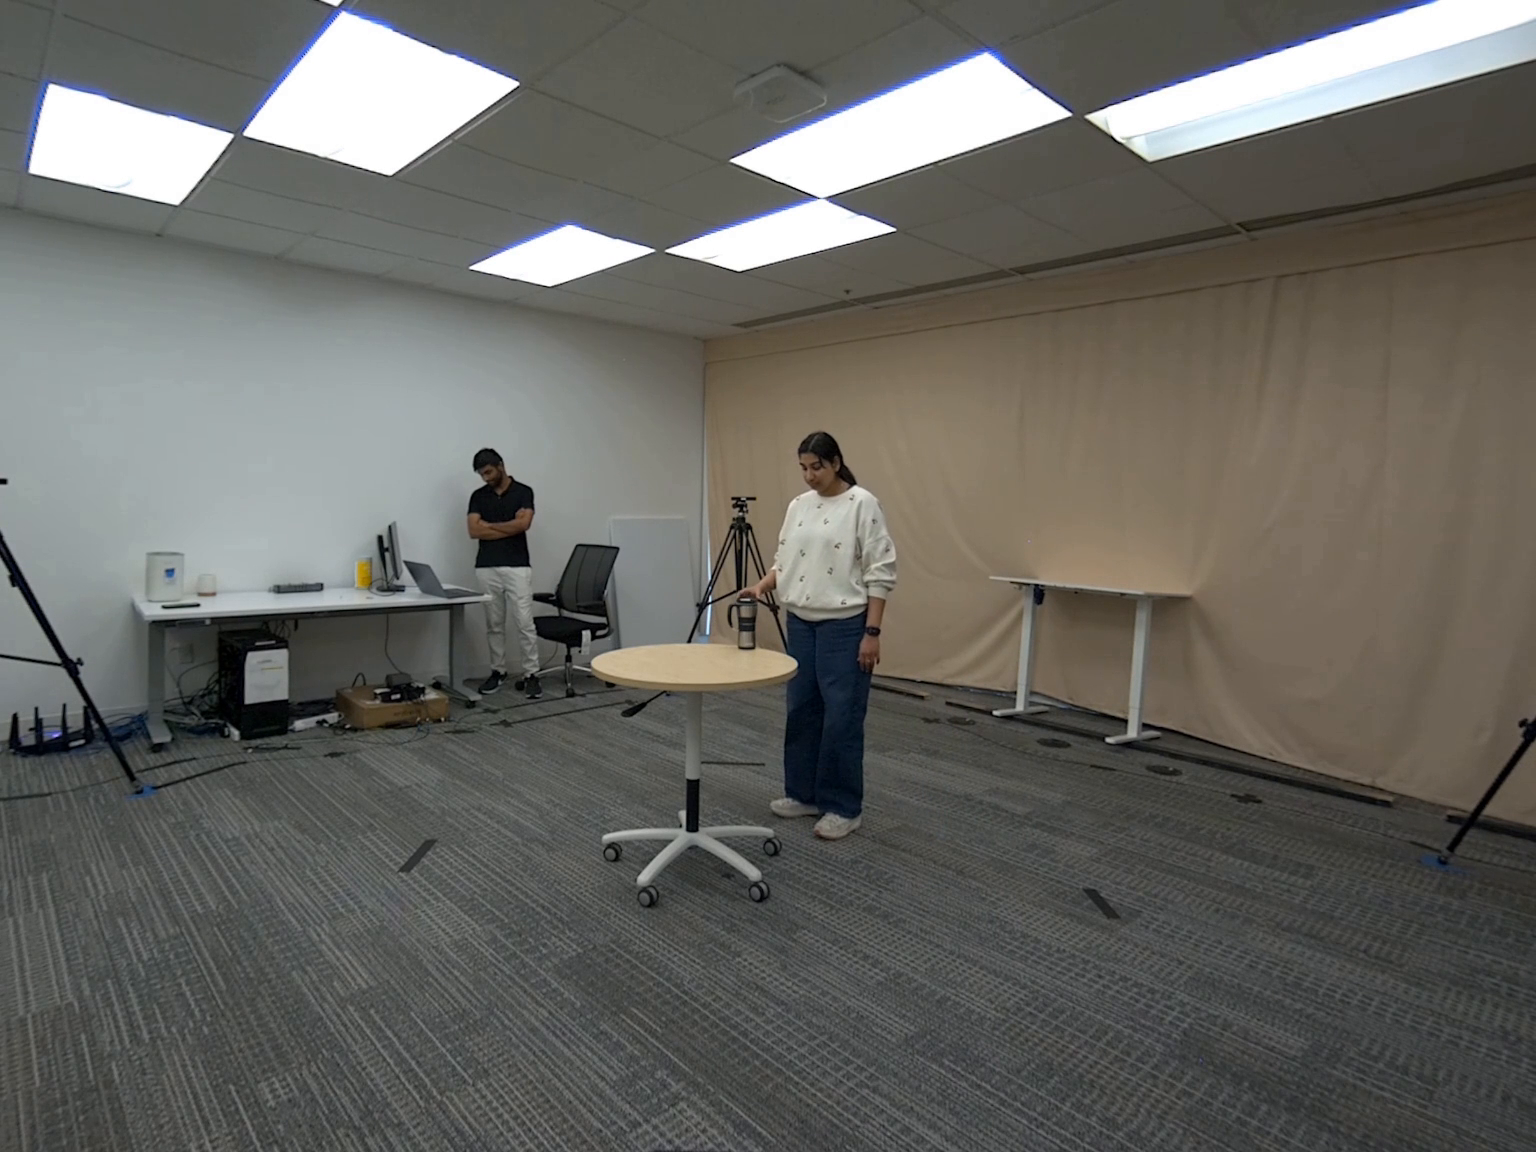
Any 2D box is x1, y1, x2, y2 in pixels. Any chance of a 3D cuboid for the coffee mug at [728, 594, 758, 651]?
[{"bbox_3d":[-0.120,0.194,3.417,0.121,0.202,0.089,3,5,-7],"label":"coffee mug"}]
